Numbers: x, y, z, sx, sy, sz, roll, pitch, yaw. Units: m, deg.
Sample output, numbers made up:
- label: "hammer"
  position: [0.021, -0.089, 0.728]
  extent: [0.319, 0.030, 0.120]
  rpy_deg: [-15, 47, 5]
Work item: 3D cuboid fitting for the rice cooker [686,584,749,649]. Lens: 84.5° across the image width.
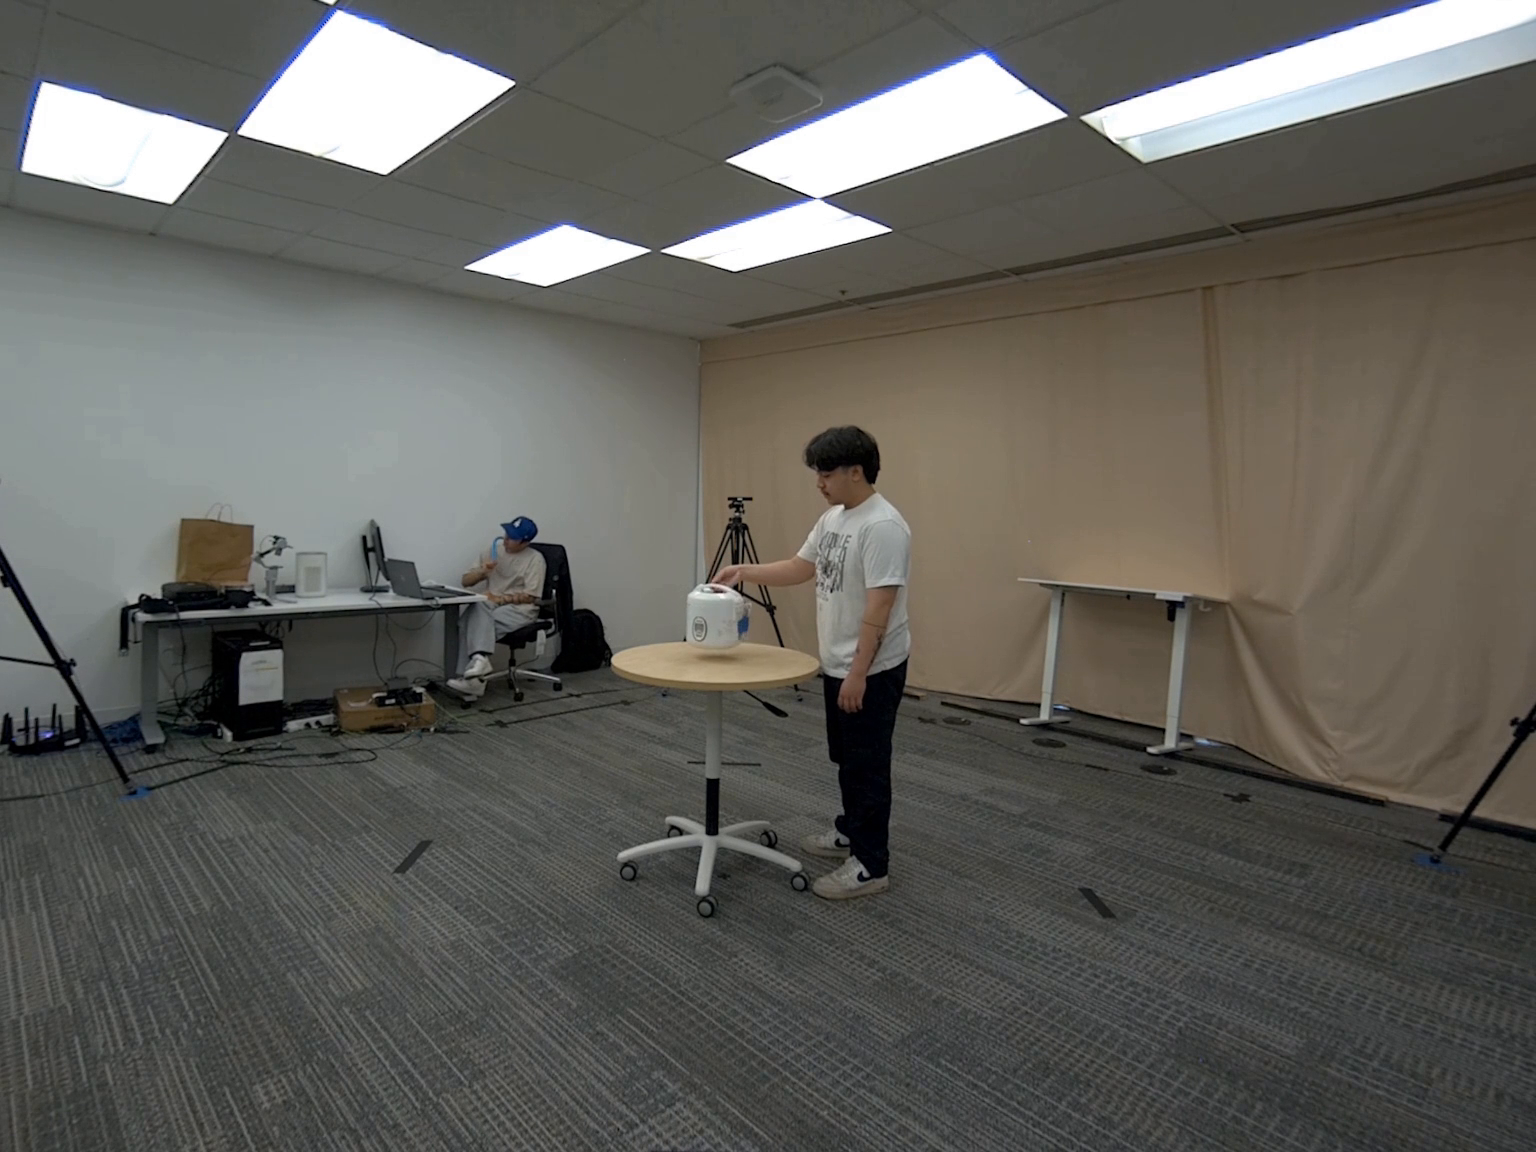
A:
- label: "rice cooker"
  position: [-0.200, 0.146, 3.126]
  extent: [0.225, 0.232, 0.213]
  rpy_deg: [3, 4, 27]
